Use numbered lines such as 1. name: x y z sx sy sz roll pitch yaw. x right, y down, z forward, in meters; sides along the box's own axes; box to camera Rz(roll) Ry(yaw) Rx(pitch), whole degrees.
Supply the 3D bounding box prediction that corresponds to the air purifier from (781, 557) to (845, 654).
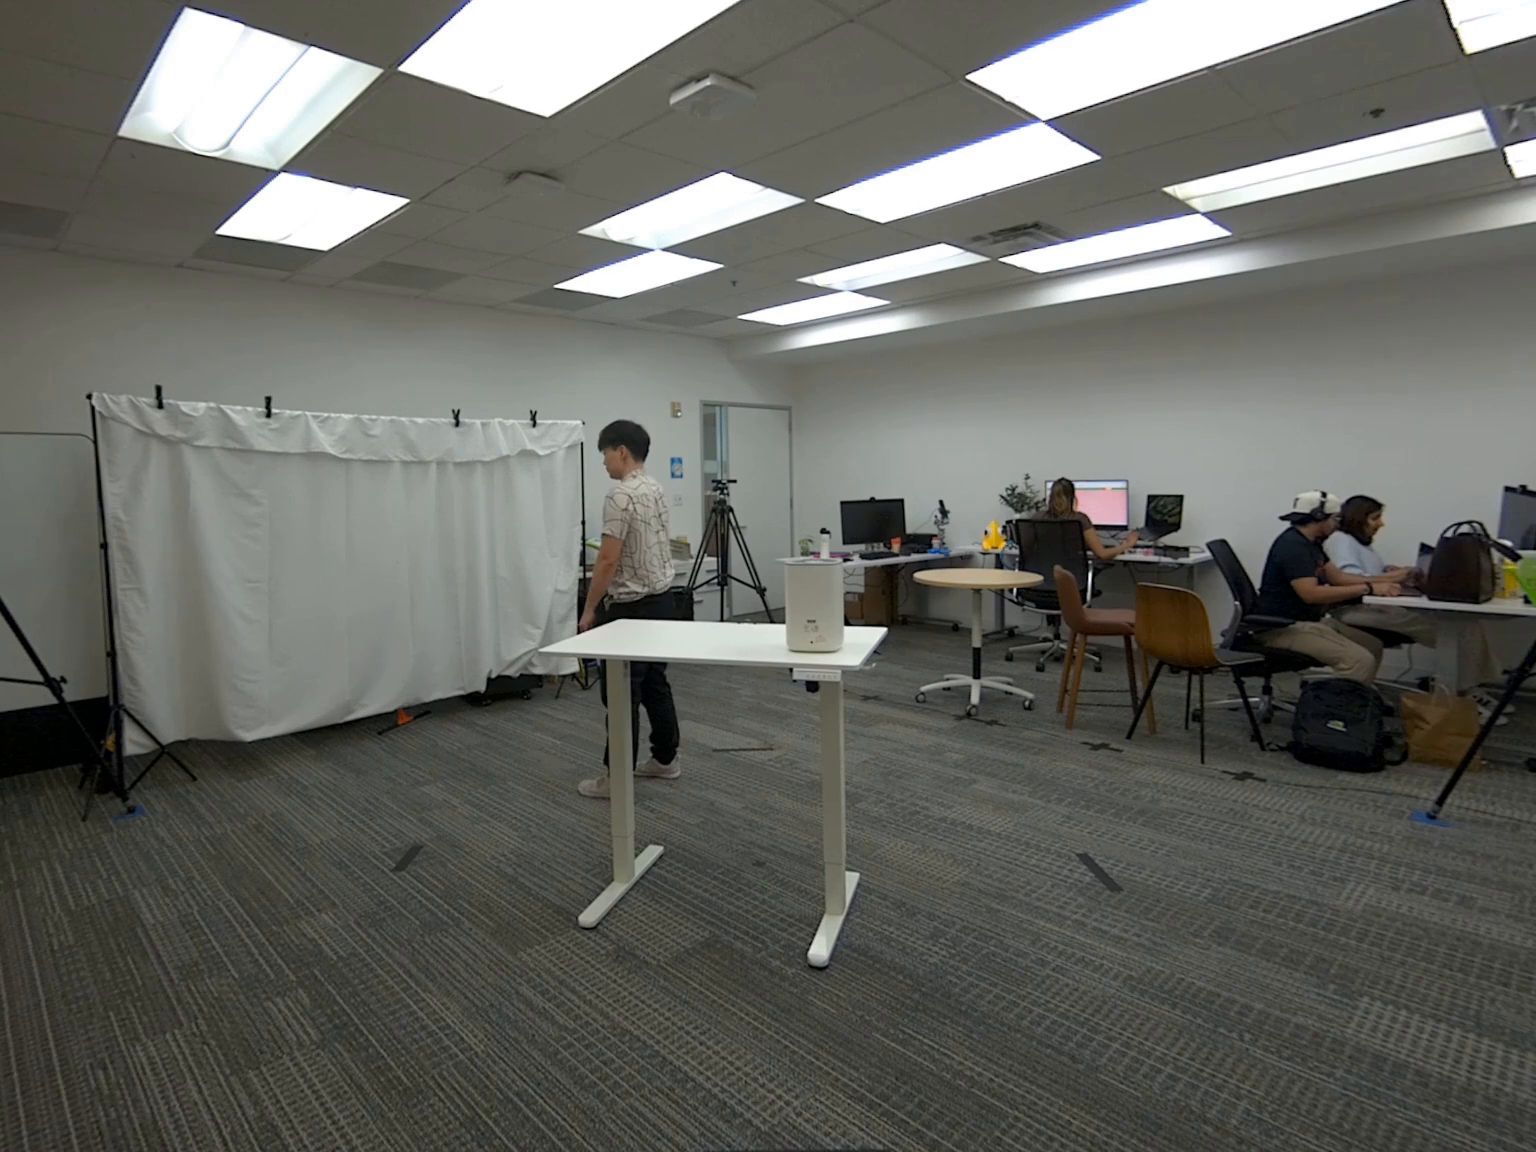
1. air purifier: 0.138 0.093 2.573 0.173 0.264 0.170 -2 4 12
